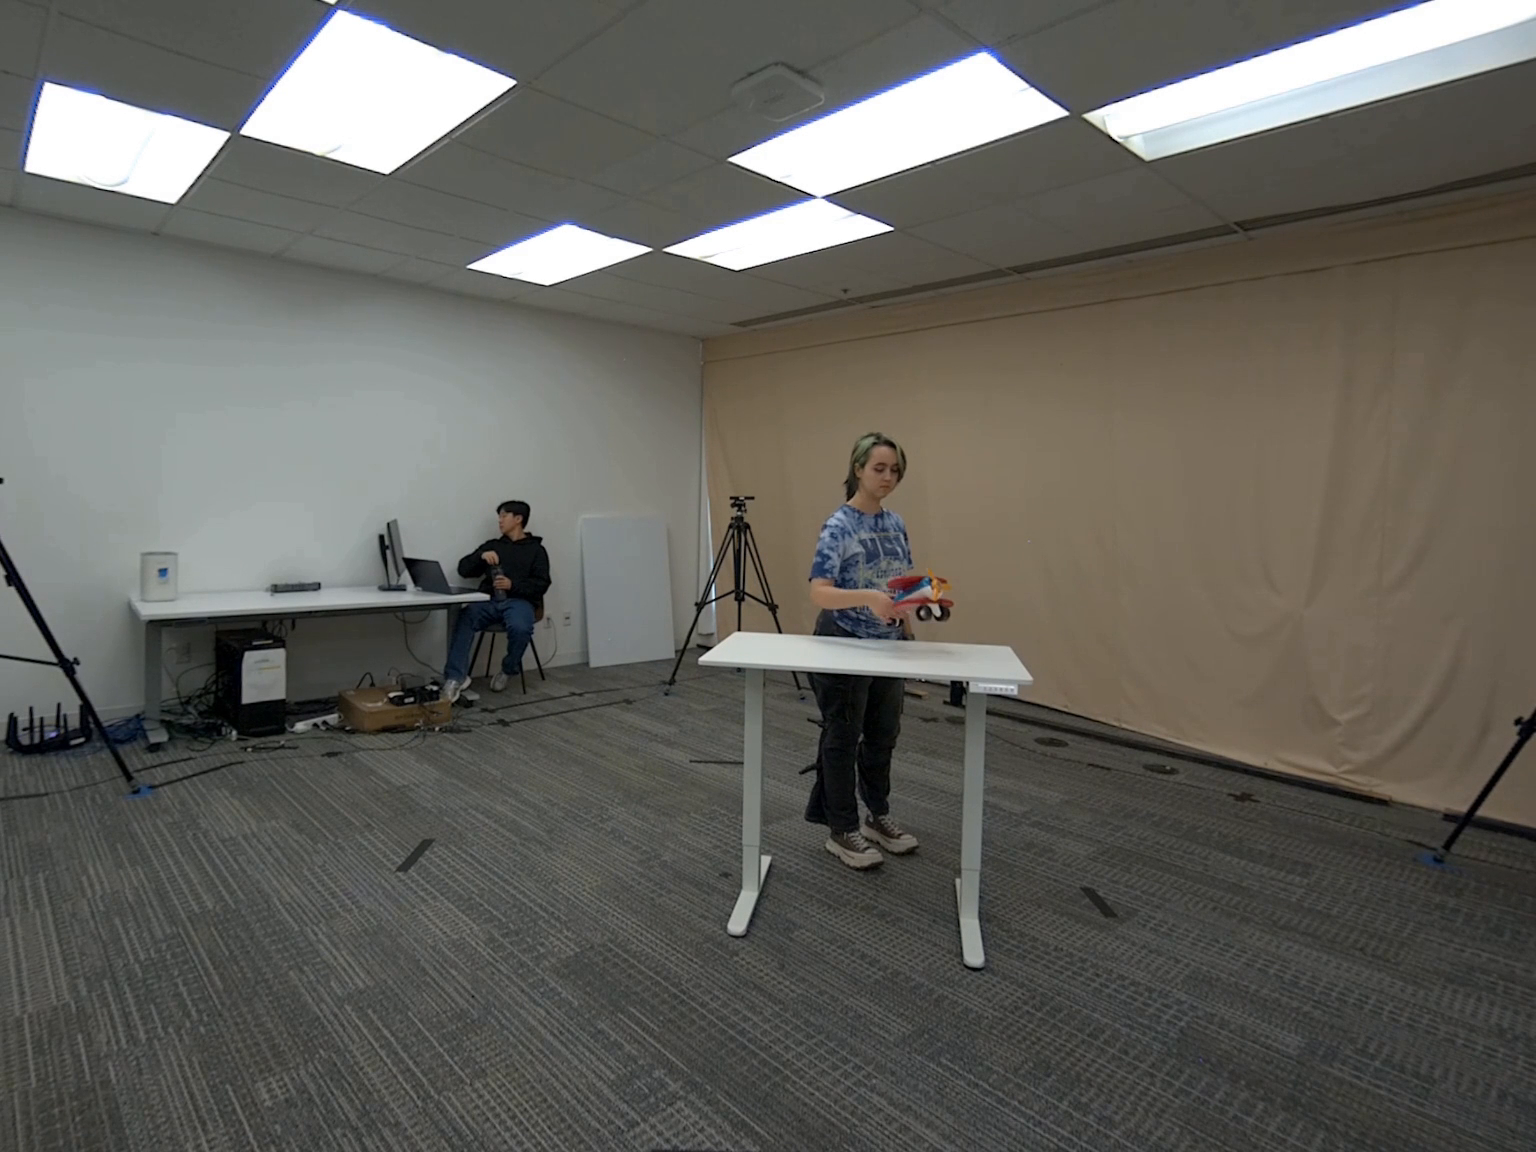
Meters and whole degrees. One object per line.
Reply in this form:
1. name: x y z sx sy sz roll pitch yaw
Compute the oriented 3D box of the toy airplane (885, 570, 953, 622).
1. toy airplane: 0.473 0.088 2.852 0.263 0.158 0.245 -7 -10 25
